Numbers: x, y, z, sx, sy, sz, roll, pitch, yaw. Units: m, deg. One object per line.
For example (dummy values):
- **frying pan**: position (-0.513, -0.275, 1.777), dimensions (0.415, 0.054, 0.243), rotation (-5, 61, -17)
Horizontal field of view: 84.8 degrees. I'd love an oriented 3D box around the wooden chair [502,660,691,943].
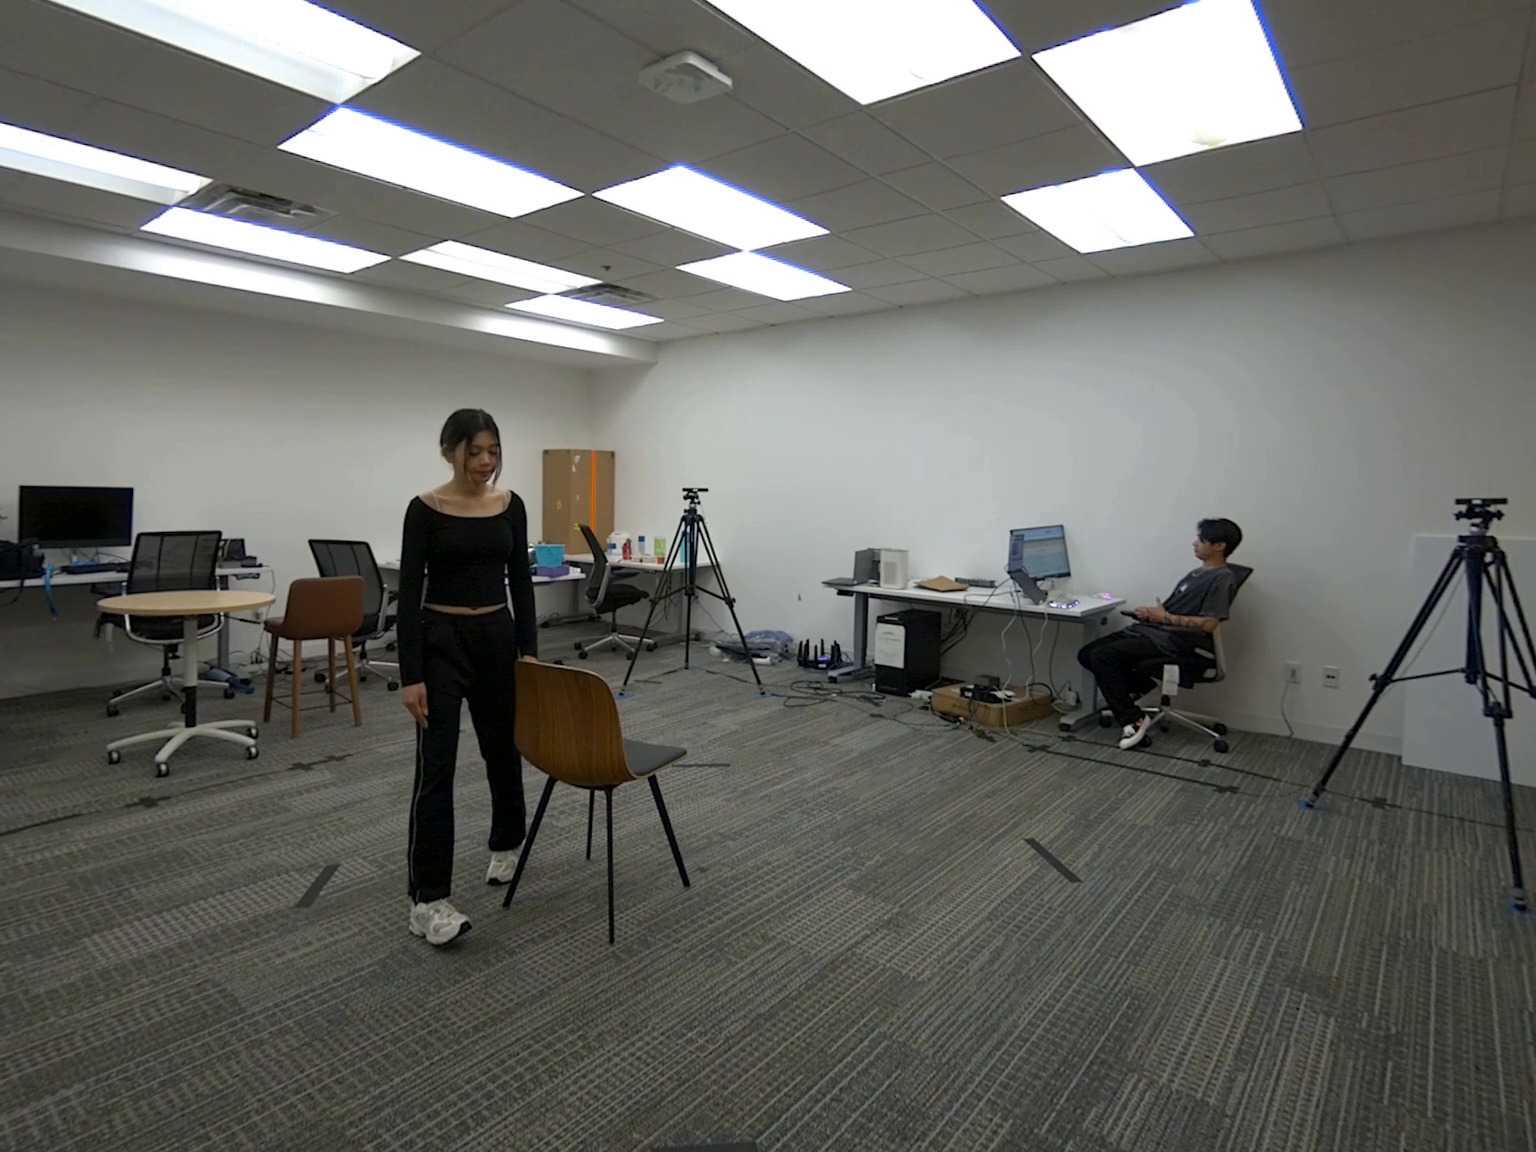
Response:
- **wooden chair**: position (-0.567, 0.662, 2.862), dimensions (0.492, 0.871, 0.512), rotation (2, 8, 28)
